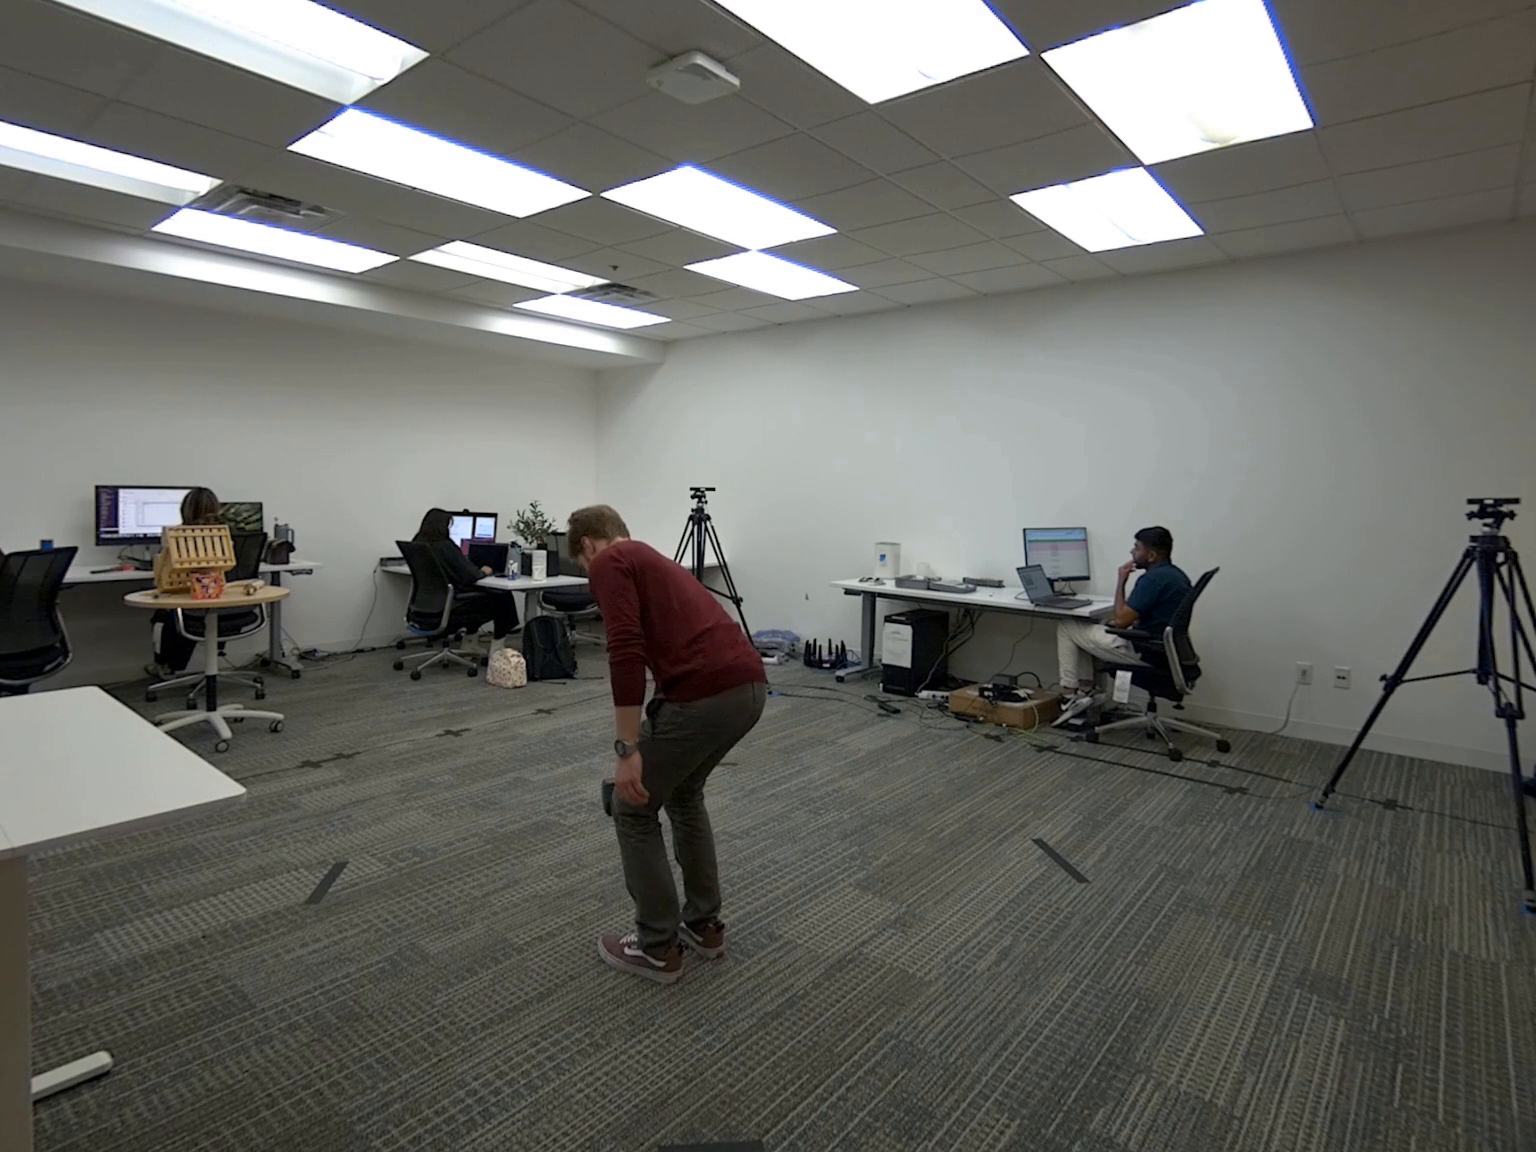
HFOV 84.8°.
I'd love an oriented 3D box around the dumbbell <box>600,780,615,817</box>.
[{"bbox_3d":[-0.406,0.700,2.793,0.289,0.120,0.113,-3,30,-17],"label":"dumbbell"}]
